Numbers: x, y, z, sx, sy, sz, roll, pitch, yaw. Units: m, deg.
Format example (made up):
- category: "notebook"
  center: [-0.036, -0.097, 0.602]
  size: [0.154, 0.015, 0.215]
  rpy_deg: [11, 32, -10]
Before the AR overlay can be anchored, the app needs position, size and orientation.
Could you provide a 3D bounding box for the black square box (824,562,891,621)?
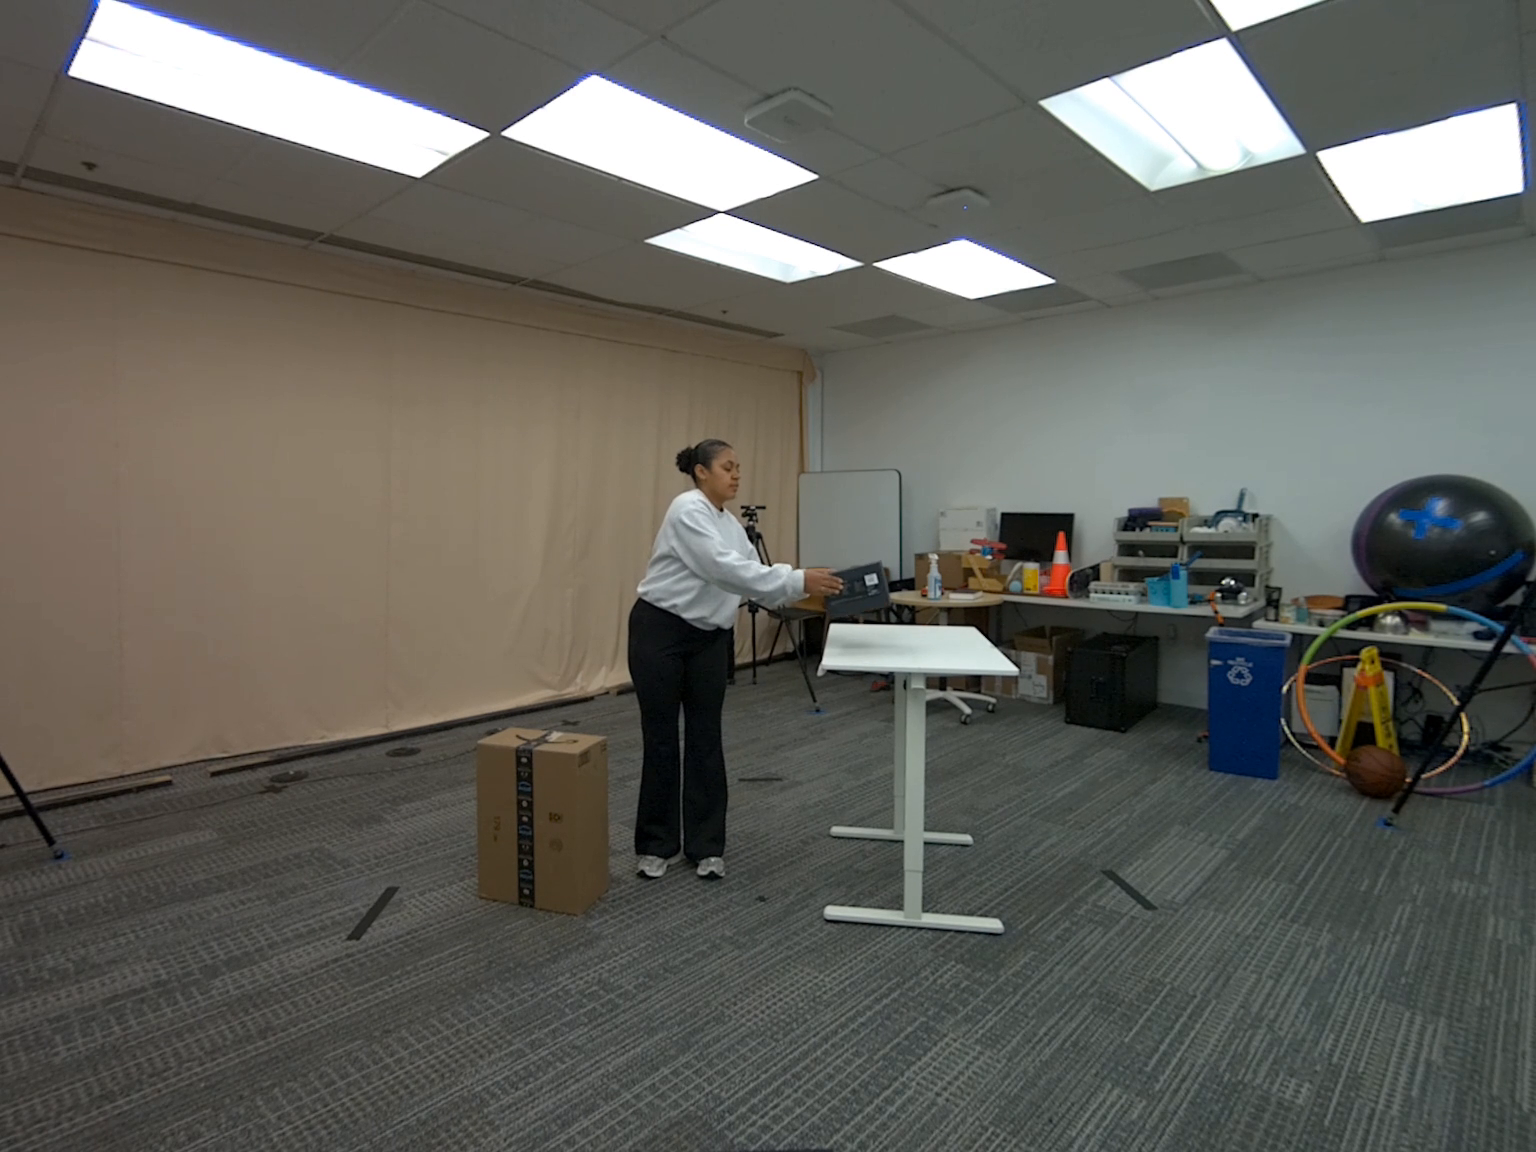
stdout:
- category: "black square box"
  center: [0.309, 0.047, 3.001]
  size: [0.219, 0.156, 0.225]
  rpy_deg: [-13, 1, 11]
